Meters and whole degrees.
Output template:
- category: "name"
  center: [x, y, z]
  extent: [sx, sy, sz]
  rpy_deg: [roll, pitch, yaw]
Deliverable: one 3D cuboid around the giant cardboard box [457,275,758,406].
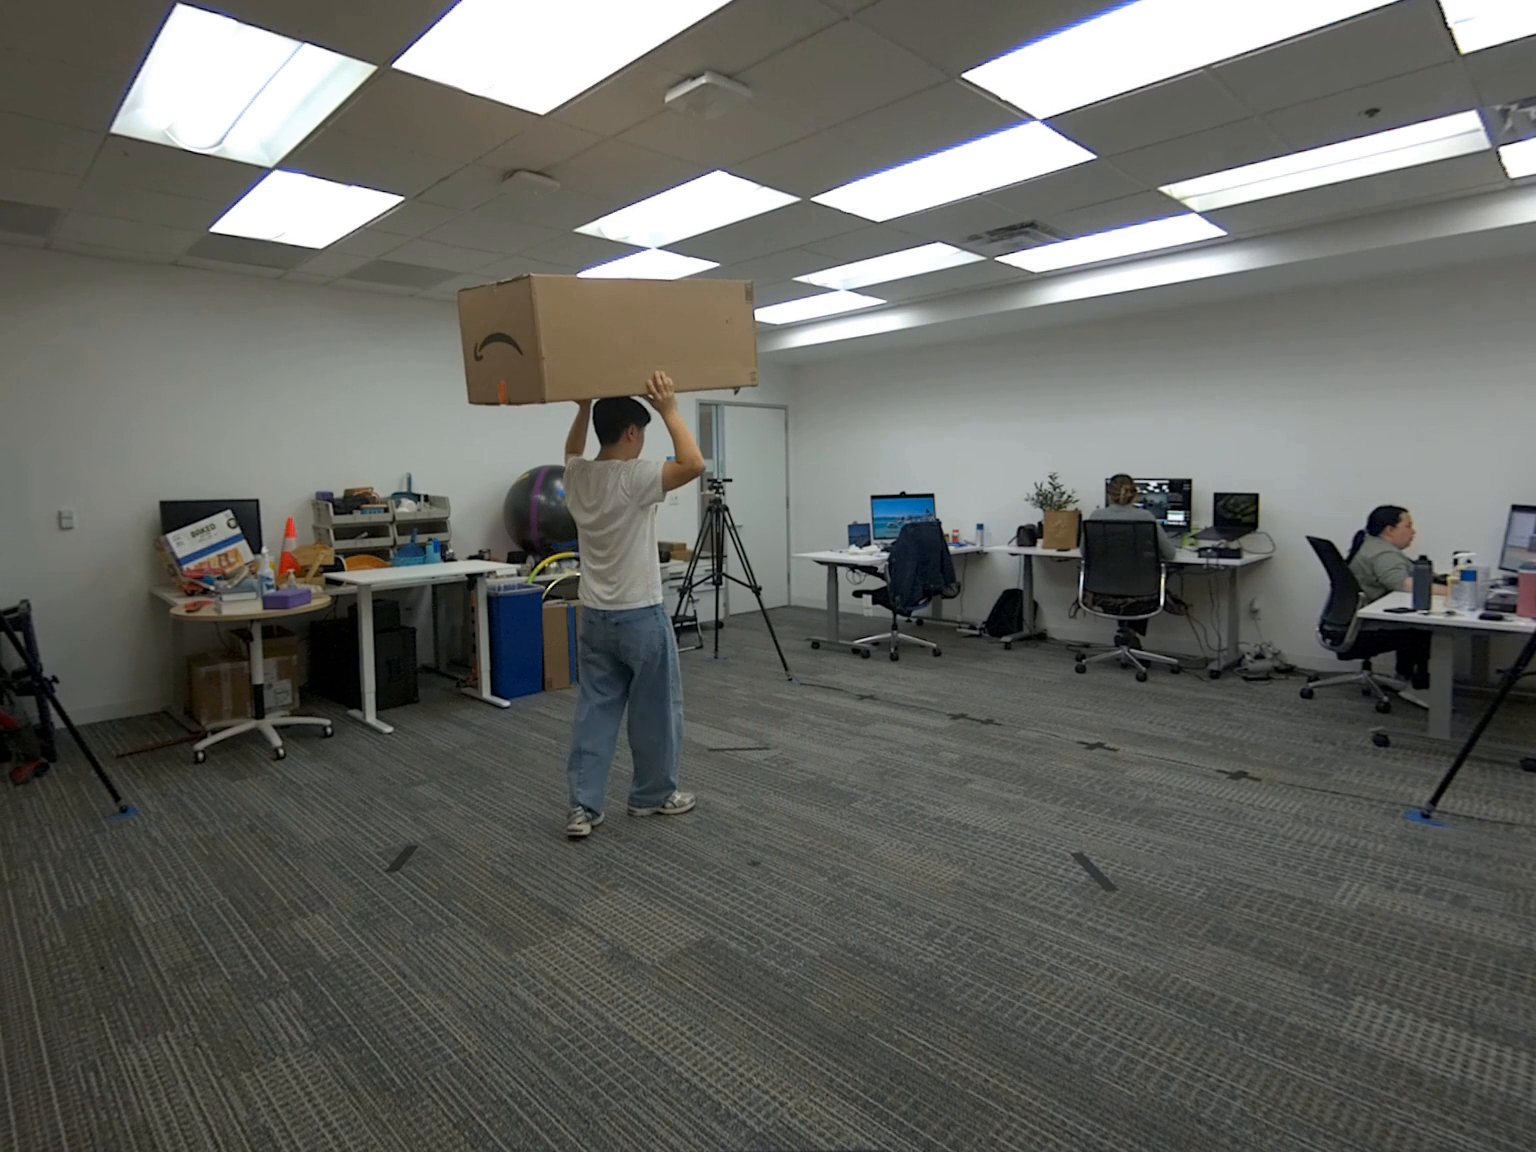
- category: "giant cardboard box"
  center: [-0.605, -0.923, 3.376]
  extent: [1.004, 0.421, 0.597]
  rpy_deg: [-15, 18, -41]
